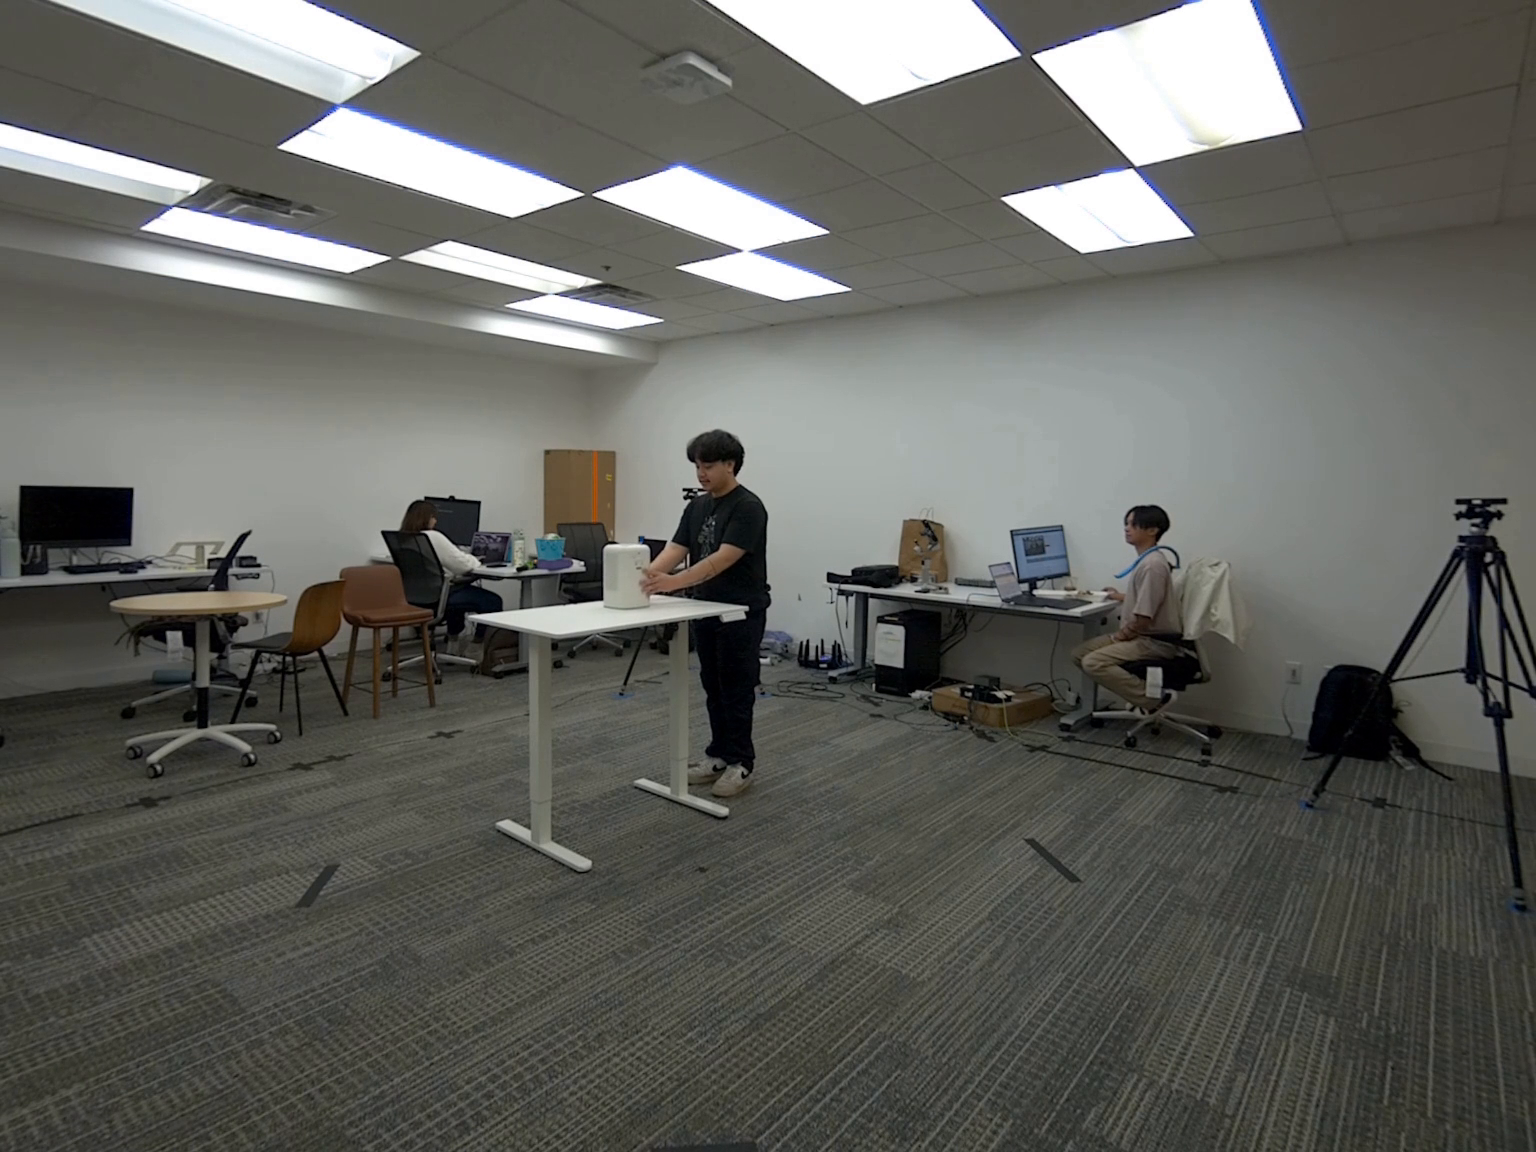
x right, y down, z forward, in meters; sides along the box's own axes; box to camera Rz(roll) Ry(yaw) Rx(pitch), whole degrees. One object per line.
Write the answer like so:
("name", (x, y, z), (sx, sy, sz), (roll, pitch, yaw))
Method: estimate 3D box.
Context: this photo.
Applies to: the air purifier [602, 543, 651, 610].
("air purifier", (-0.627, -0.006, 3.644), (0.177, 0.264, 0.166), (3, 5, 44))
